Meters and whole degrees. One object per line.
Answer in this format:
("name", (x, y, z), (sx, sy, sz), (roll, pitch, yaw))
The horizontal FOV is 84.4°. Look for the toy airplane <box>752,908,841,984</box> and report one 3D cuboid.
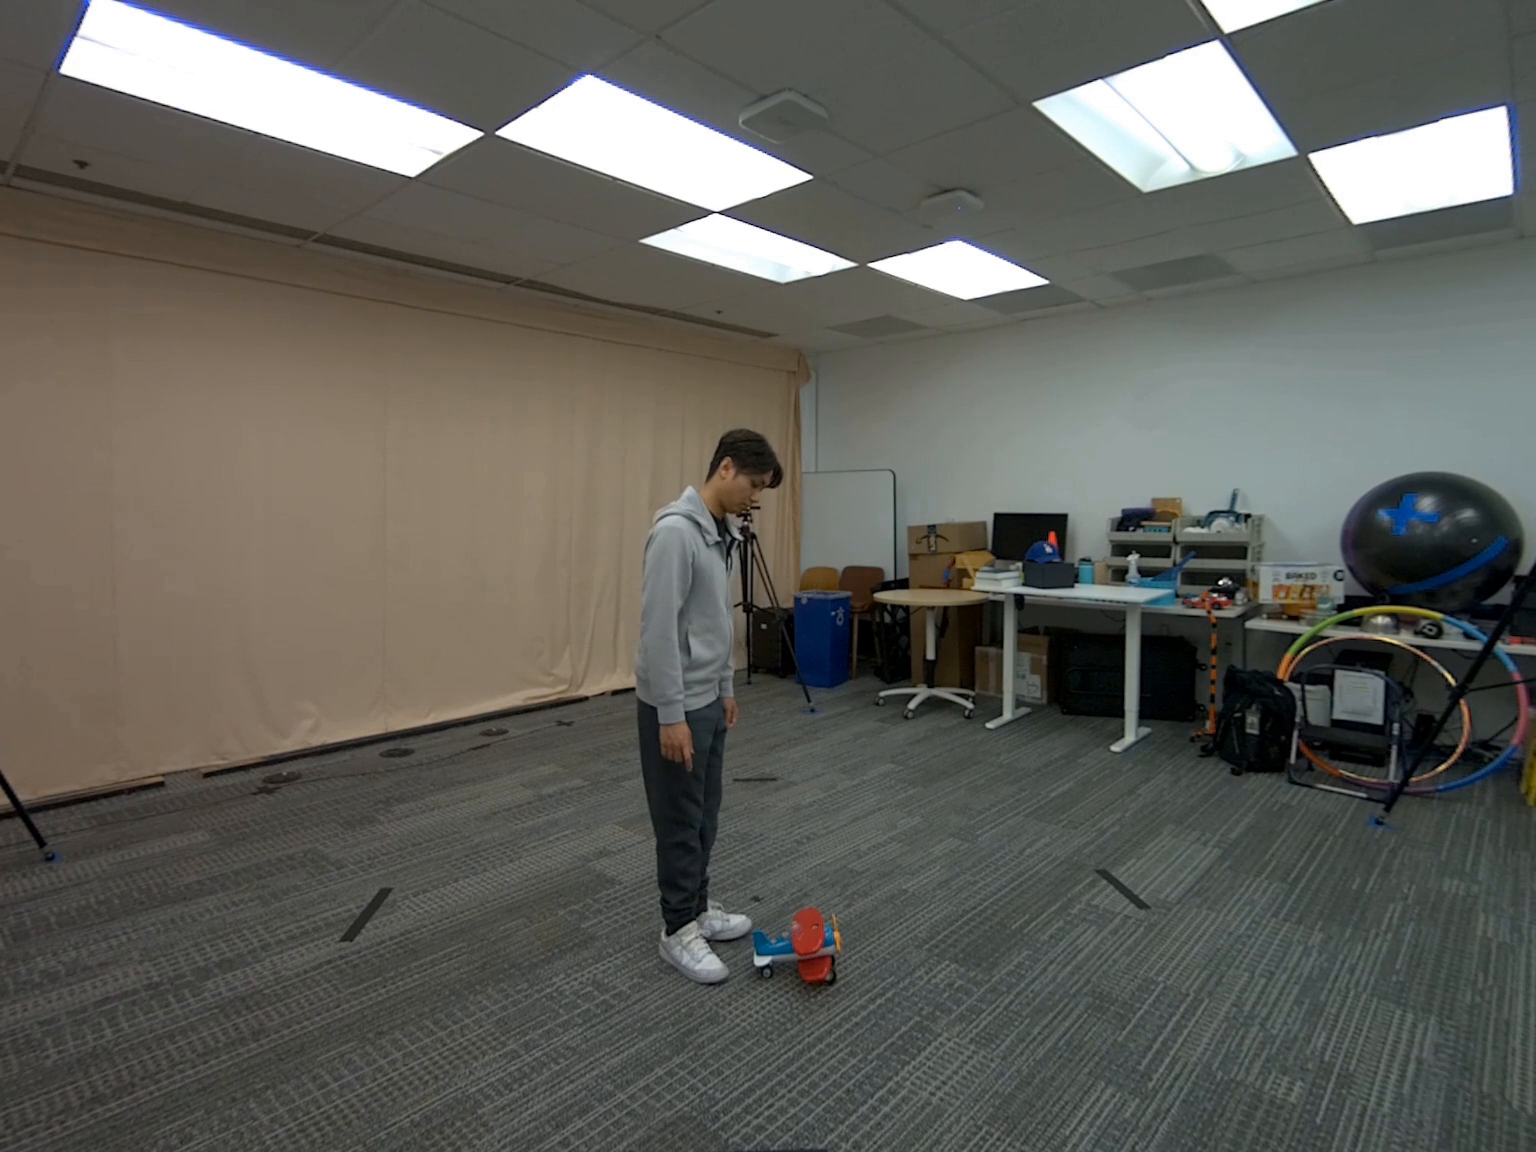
("toy airplane", (0.095, 1.116, 2.471), (0.253, 0.156, 0.258), (-2, 4, -26))
